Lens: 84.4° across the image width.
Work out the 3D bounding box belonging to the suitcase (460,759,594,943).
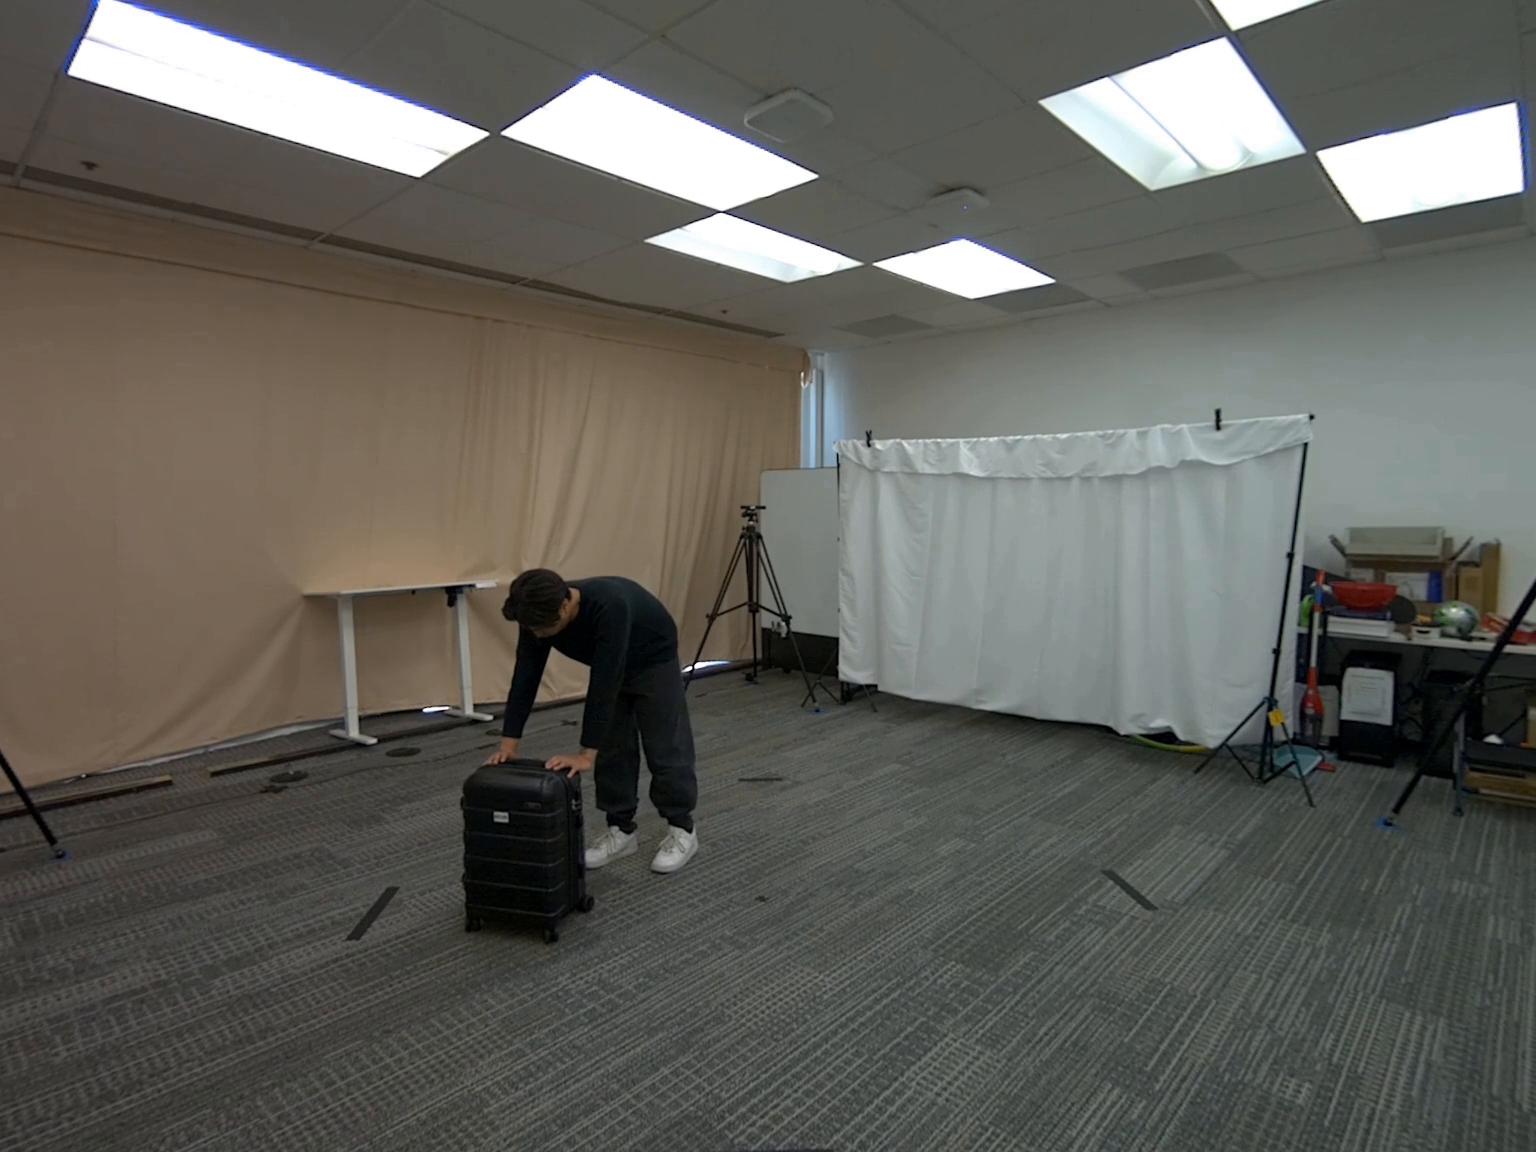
[{"bbox_3d":[-0.809,0.888,2.808,0.382,0.548,0.244,1,3,15],"label":"suitcase"}]
